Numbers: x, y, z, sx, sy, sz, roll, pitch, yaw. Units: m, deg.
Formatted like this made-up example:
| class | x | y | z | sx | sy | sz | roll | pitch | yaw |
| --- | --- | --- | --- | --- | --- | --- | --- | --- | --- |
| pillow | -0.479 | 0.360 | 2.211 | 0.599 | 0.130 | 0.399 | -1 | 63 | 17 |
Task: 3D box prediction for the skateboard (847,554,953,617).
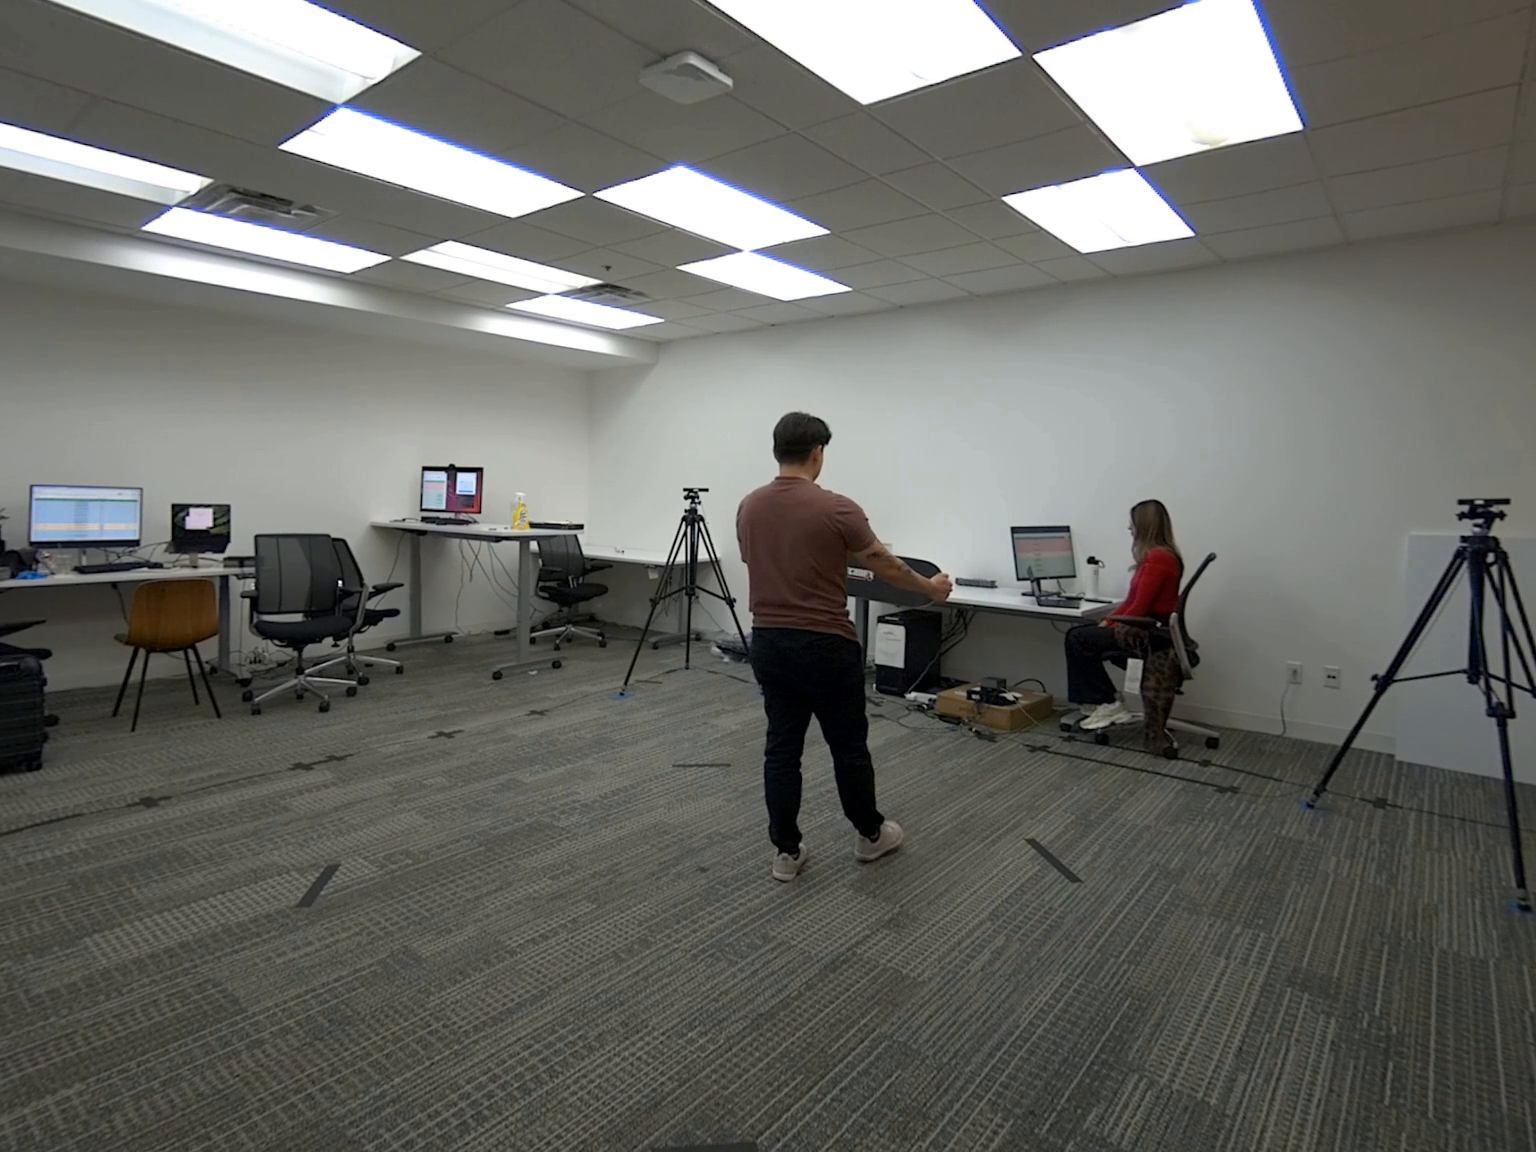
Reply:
| class | x | y | z | sx | sy | sz | roll | pitch | yaw |
| --- | --- | --- | --- | --- | --- | --- | --- | --- | --- |
| skateboard | 0.337 | -0.010 | 3.453 | 0.812 | 0.195 | 0.106 | 10 | -12 | 34 |
